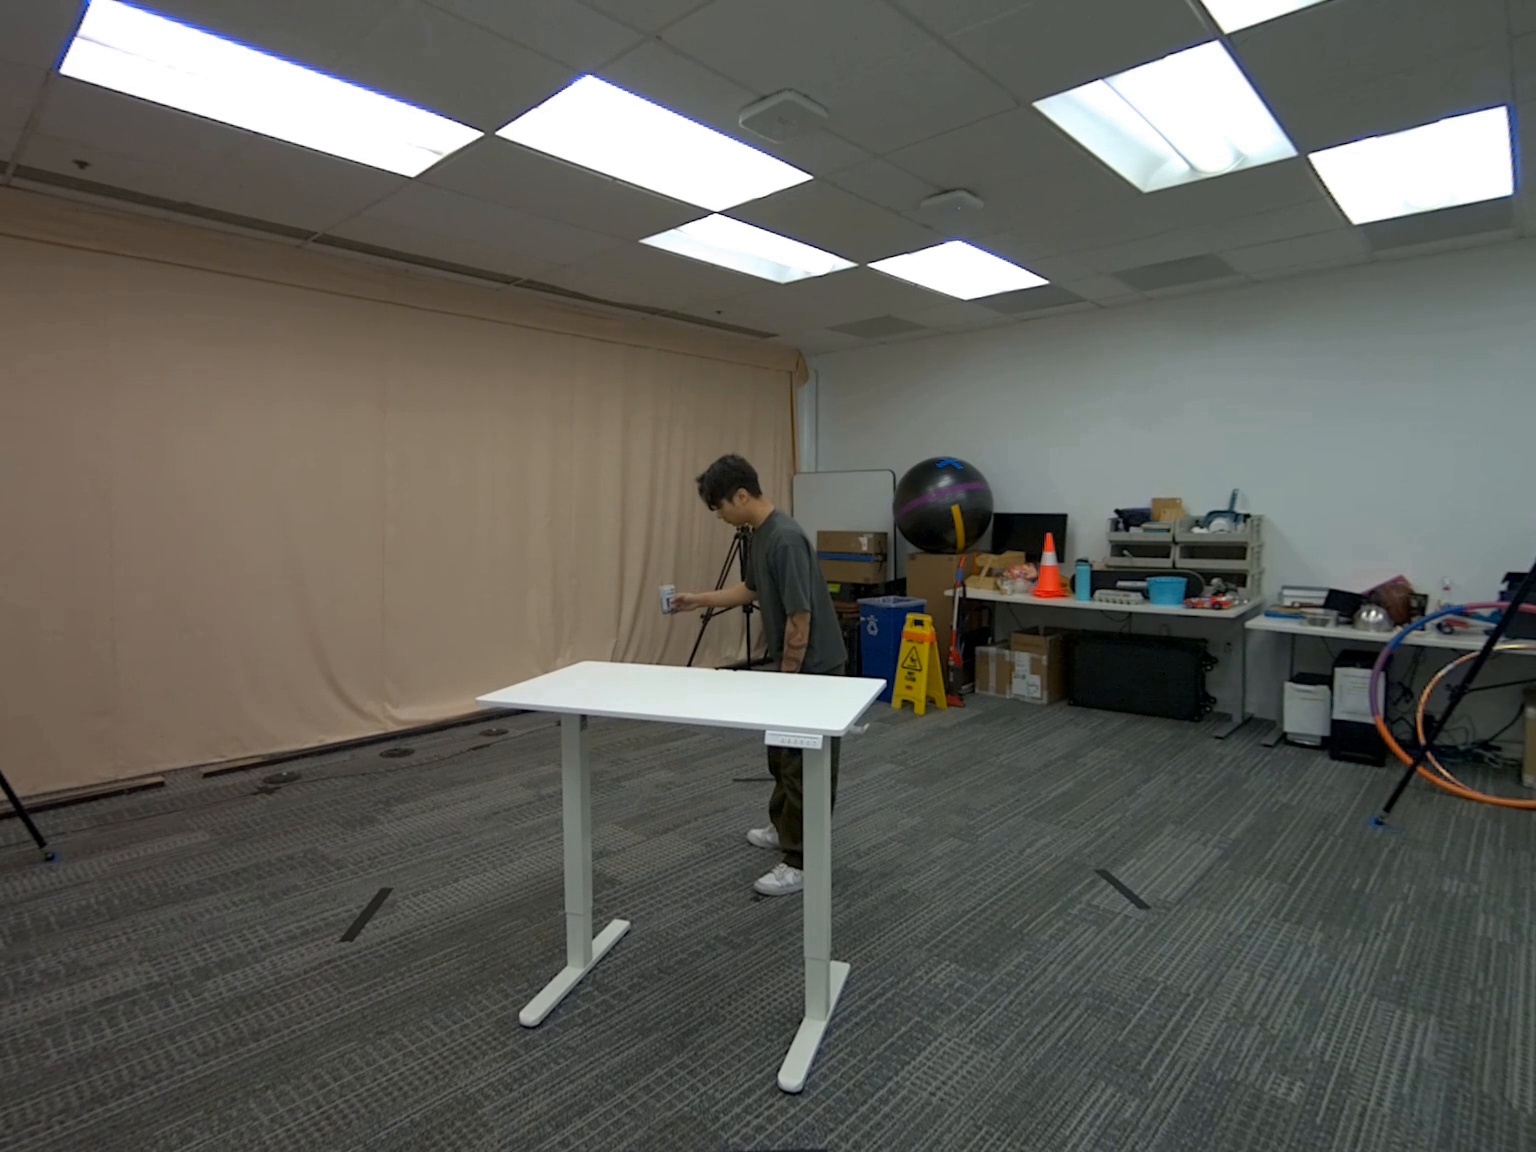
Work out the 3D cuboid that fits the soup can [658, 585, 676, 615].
[{"bbox_3d":[-0.418,0.098,3.540,0.067,0.121,0.067,-9,4,-1],"label":"soup can"}]
